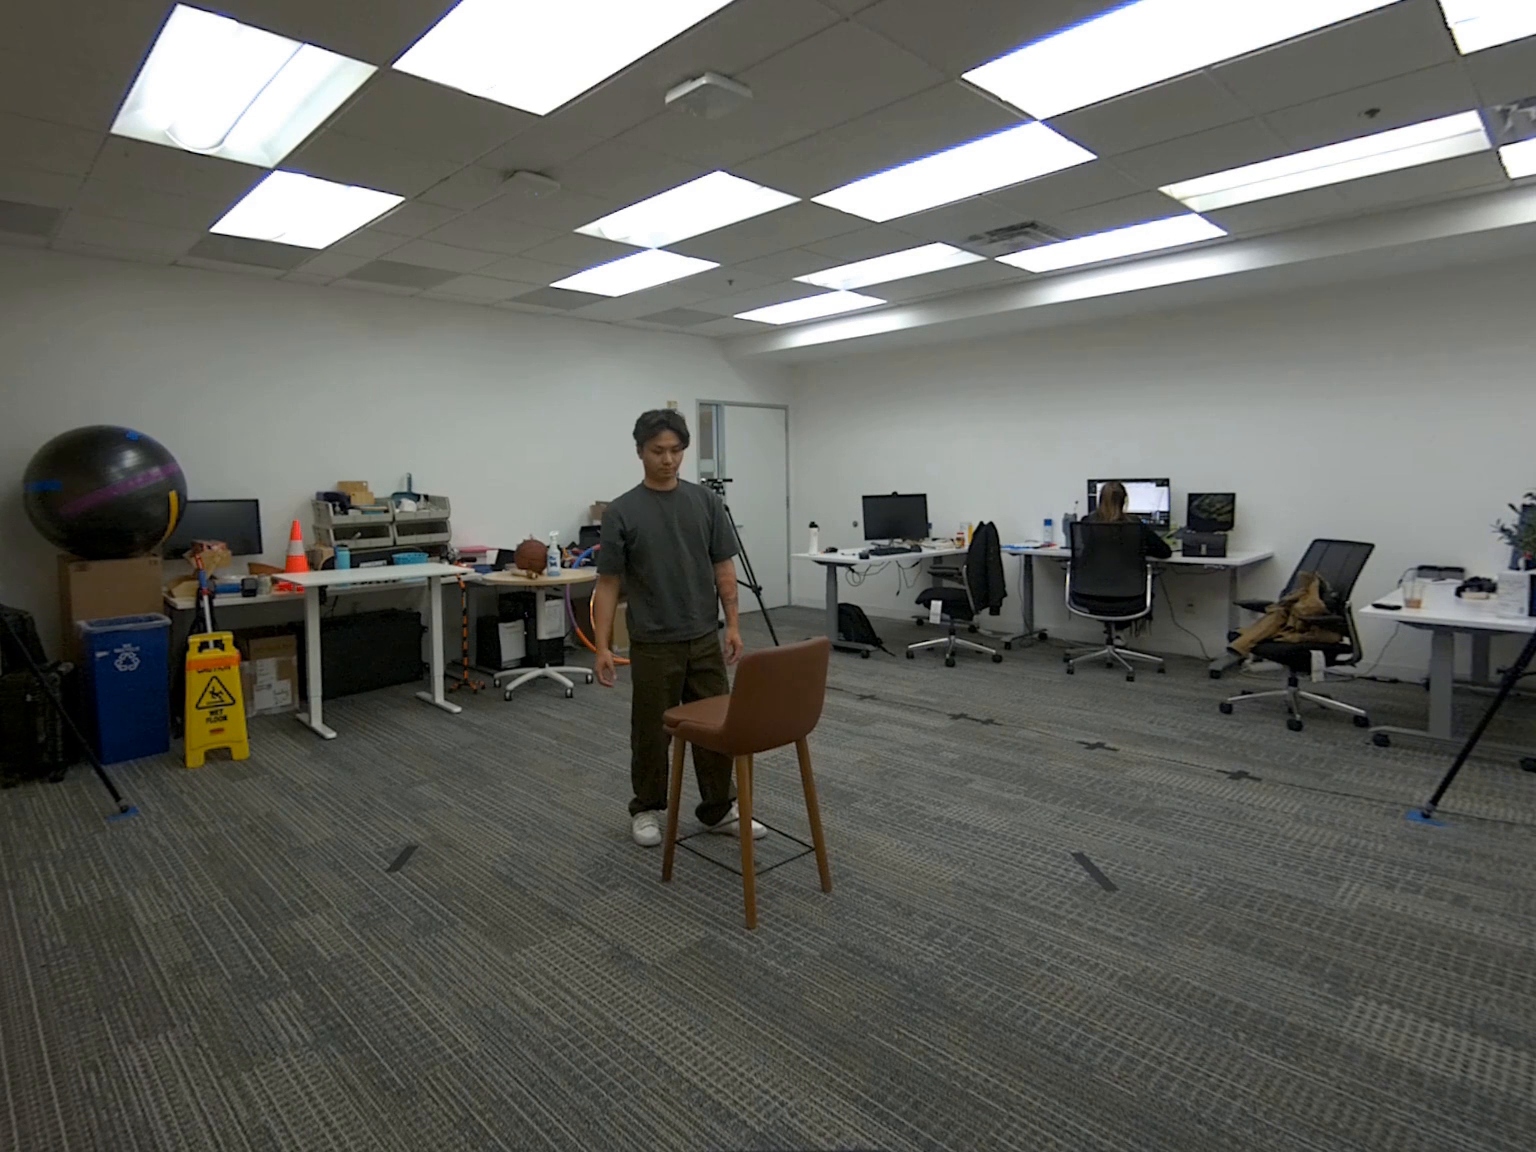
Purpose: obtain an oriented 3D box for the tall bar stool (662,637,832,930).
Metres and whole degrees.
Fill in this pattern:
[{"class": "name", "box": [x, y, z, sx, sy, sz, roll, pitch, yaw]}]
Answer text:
[{"class": "tall bar stool", "box": [-0.070, 0.629, 2.918, 0.444, 0.885, 0.482, -4, 7, -42]}]
